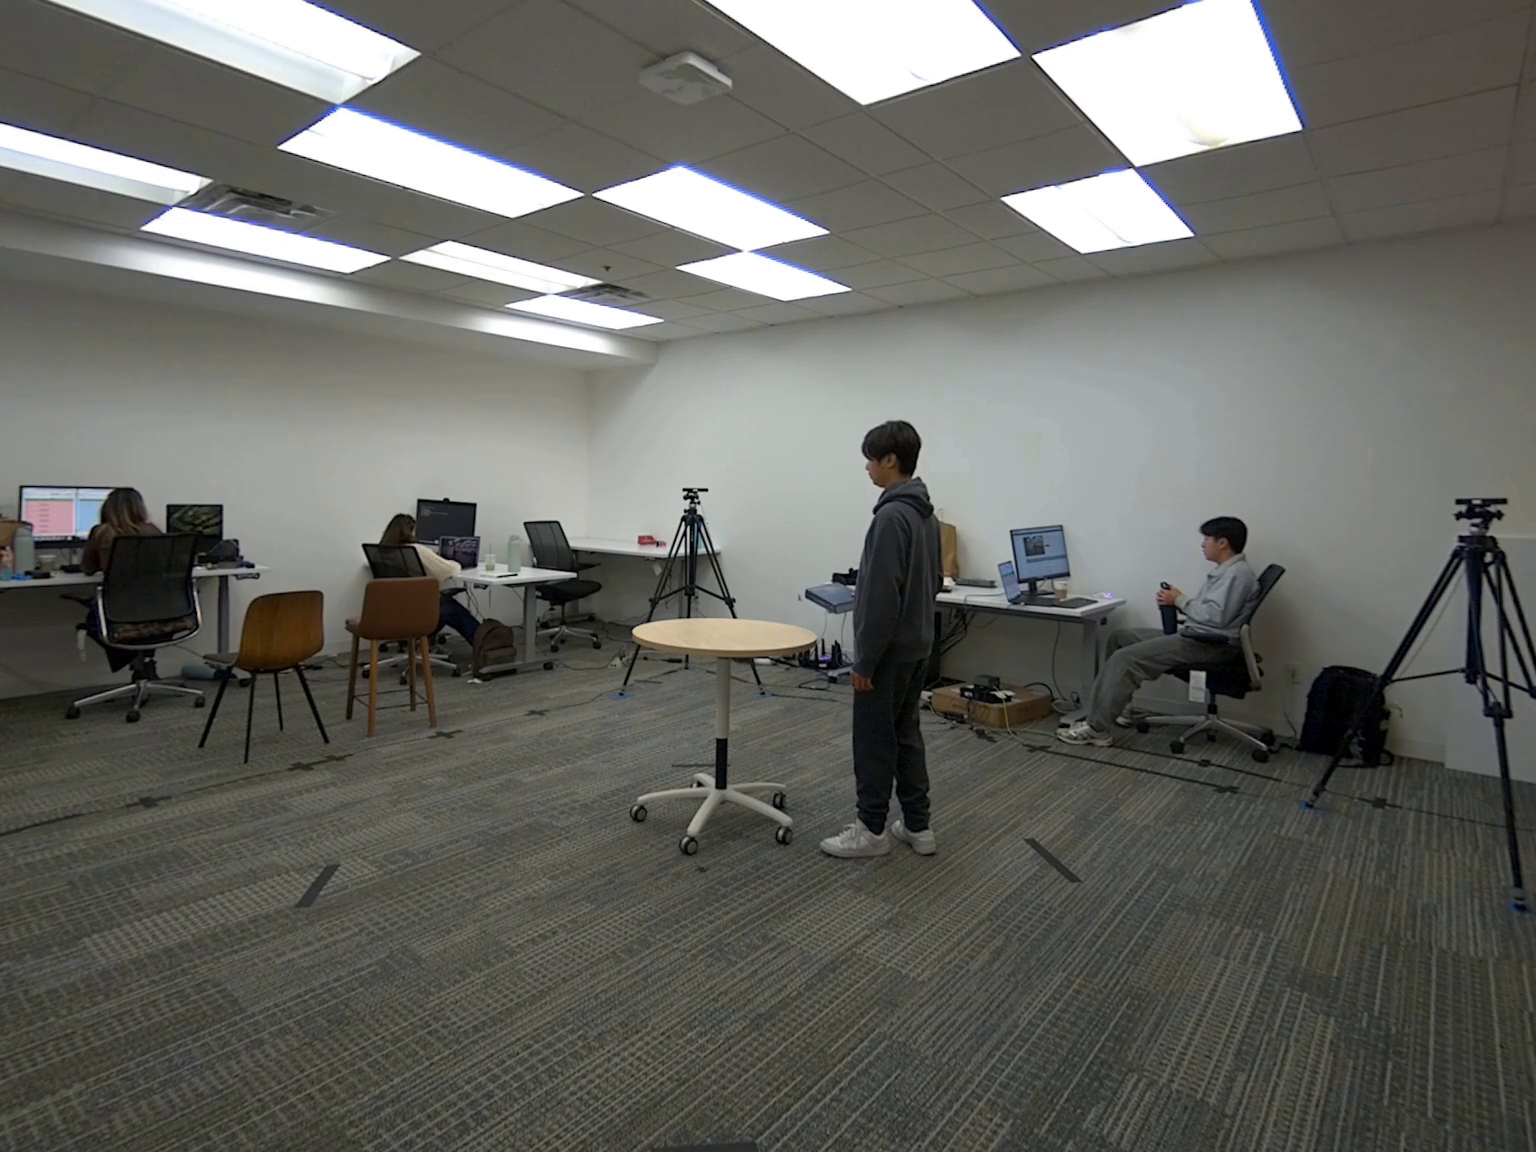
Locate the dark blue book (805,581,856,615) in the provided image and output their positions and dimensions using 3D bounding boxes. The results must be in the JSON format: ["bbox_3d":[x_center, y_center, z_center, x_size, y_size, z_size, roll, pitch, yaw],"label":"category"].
[{"bbox_3d":[0.290,0.090,3.619,0.160,0.044,0.254,-11,19,-23],"label":"dark blue book"}]
